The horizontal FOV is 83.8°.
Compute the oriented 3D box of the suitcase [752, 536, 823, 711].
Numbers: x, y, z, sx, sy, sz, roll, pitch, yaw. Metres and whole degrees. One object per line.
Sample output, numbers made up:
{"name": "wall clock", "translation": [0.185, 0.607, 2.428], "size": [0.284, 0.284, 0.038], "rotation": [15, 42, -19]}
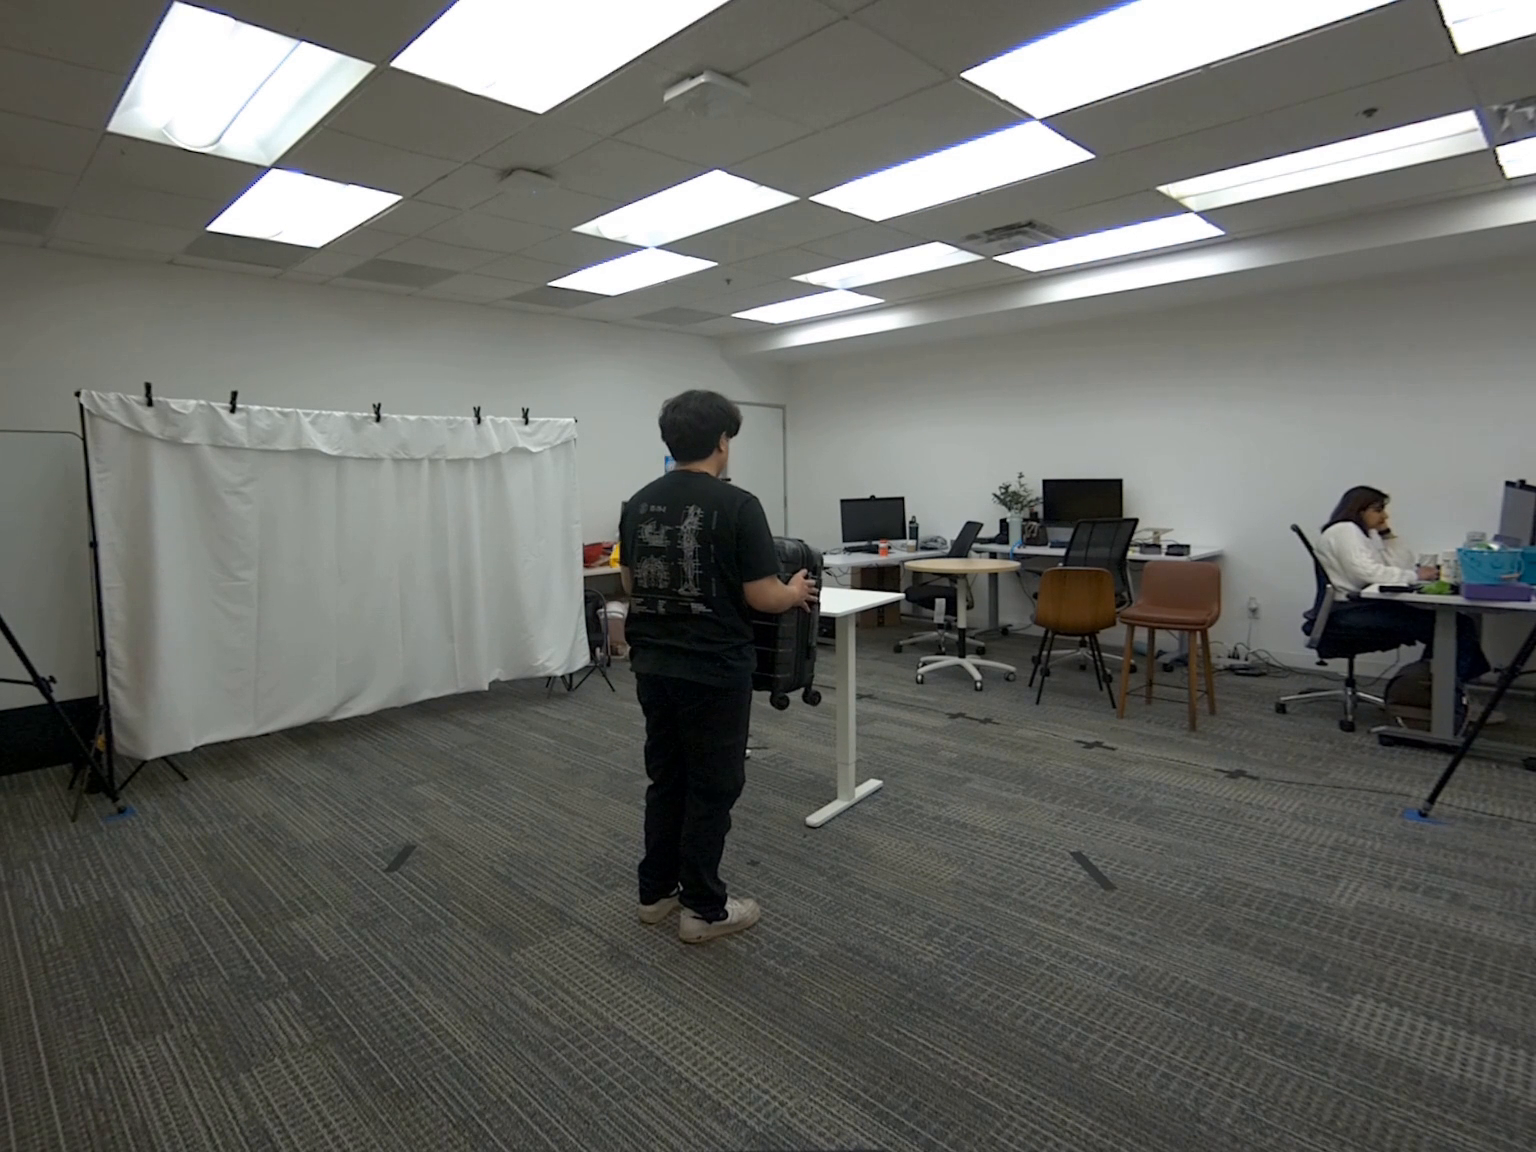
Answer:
{"name": "suitcase", "translation": [-0.022, 0.137, 2.887], "size": [0.386, 0.550, 0.241], "rotation": [4, -2, 35]}
